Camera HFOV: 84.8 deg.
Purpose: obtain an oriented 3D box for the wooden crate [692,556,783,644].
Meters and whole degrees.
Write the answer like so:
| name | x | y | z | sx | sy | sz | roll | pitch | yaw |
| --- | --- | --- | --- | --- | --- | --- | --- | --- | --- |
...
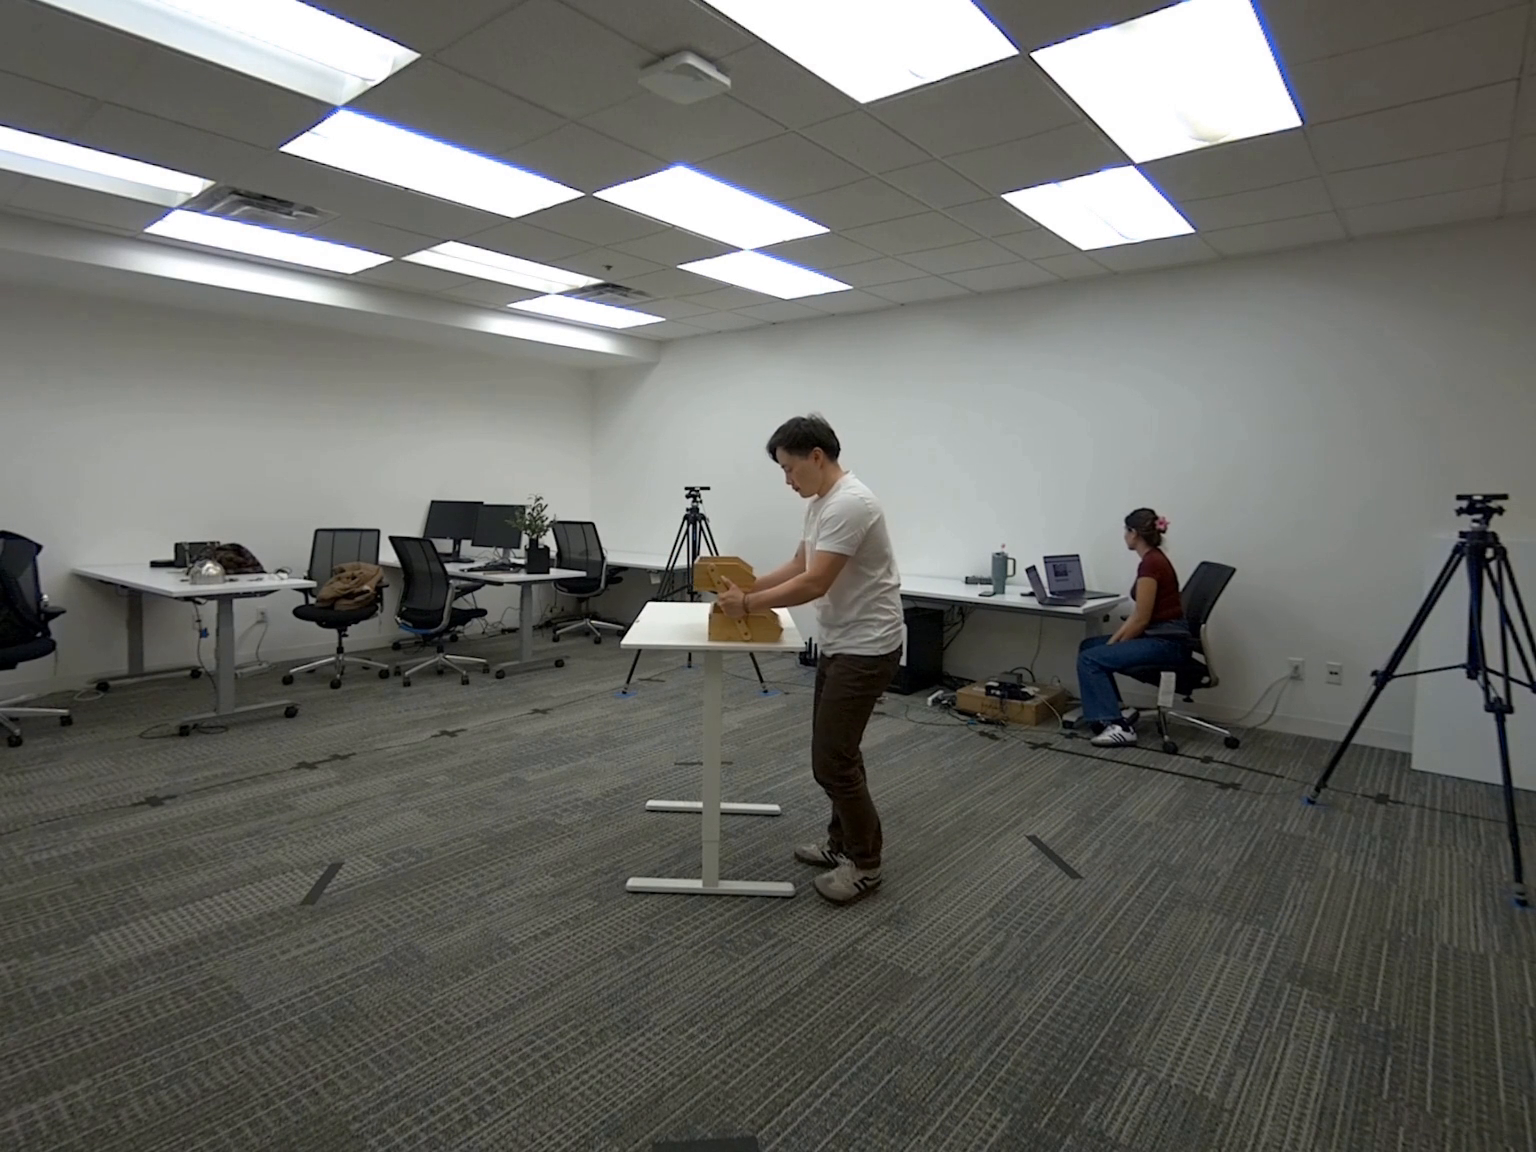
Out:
| name | x | y | z | sx | sy | sz | roll | pitch | yaw |
| --- | --- | --- | --- | --- | --- | --- | --- | --- | --- |
| wooden crate | -0.104 | 0.070 | 2.964 | 0.303 | 0.272 | 0.325 | 1 | 5 | 1 |
